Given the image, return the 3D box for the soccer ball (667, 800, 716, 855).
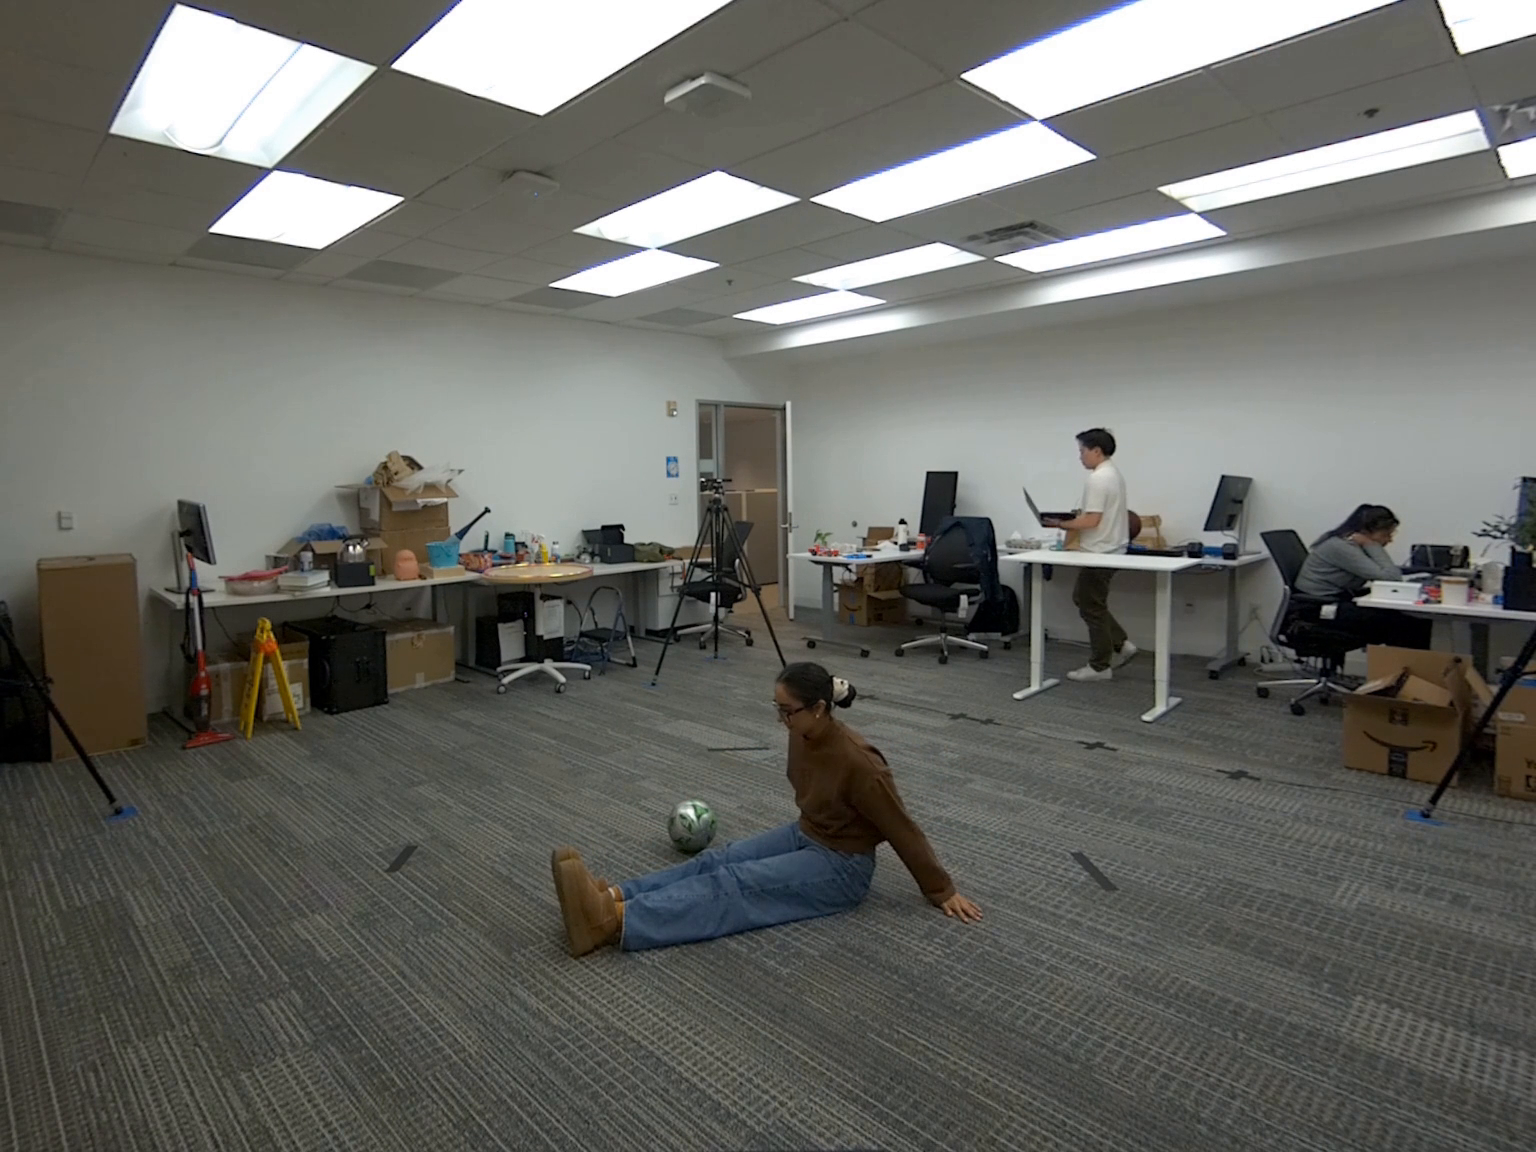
[{"bbox_3d":[-0.283,0.940,3.229,0.187,0.187,0.188,-1,5,-2],"label":"soccer ball"}]
